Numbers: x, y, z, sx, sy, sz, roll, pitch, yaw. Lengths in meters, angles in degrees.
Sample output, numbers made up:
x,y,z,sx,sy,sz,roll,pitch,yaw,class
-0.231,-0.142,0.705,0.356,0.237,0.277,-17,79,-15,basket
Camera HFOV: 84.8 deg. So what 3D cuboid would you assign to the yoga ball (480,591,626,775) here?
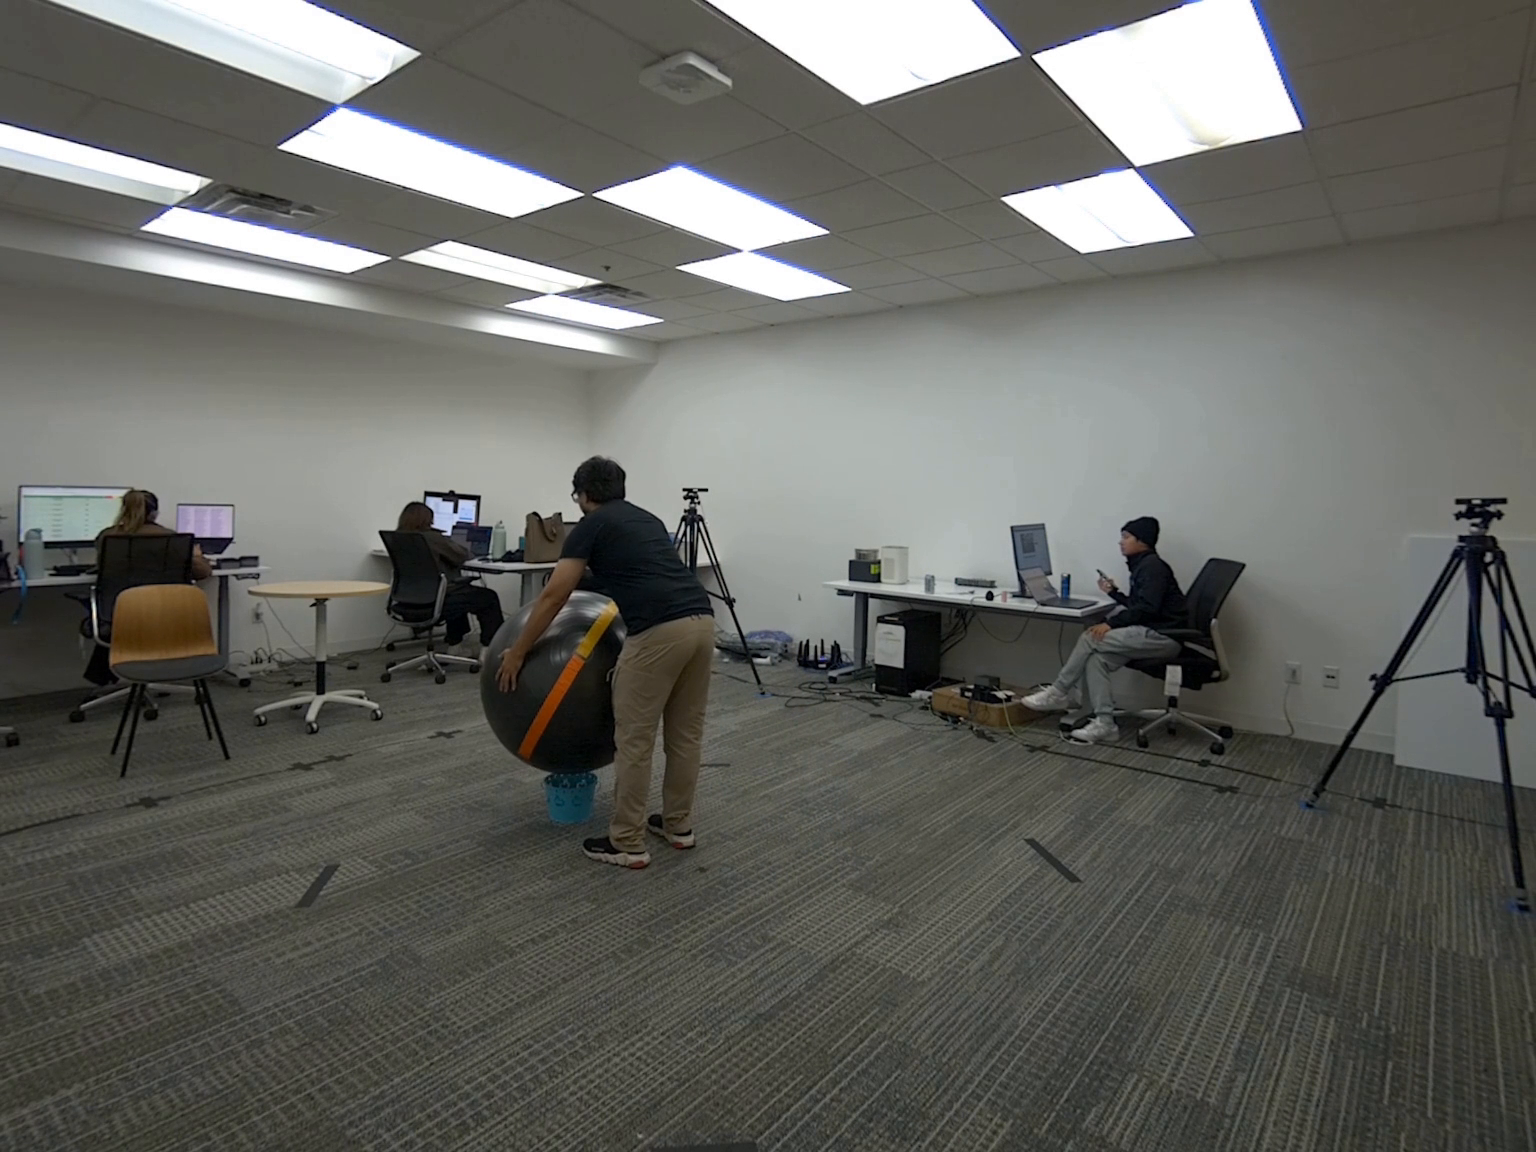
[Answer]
x,y,z,sx,sy,sz,roll,pitch,yaw,class
-0.838,0.442,3.588,0.757,0.756,0.762,1,4,-2,yoga ball
